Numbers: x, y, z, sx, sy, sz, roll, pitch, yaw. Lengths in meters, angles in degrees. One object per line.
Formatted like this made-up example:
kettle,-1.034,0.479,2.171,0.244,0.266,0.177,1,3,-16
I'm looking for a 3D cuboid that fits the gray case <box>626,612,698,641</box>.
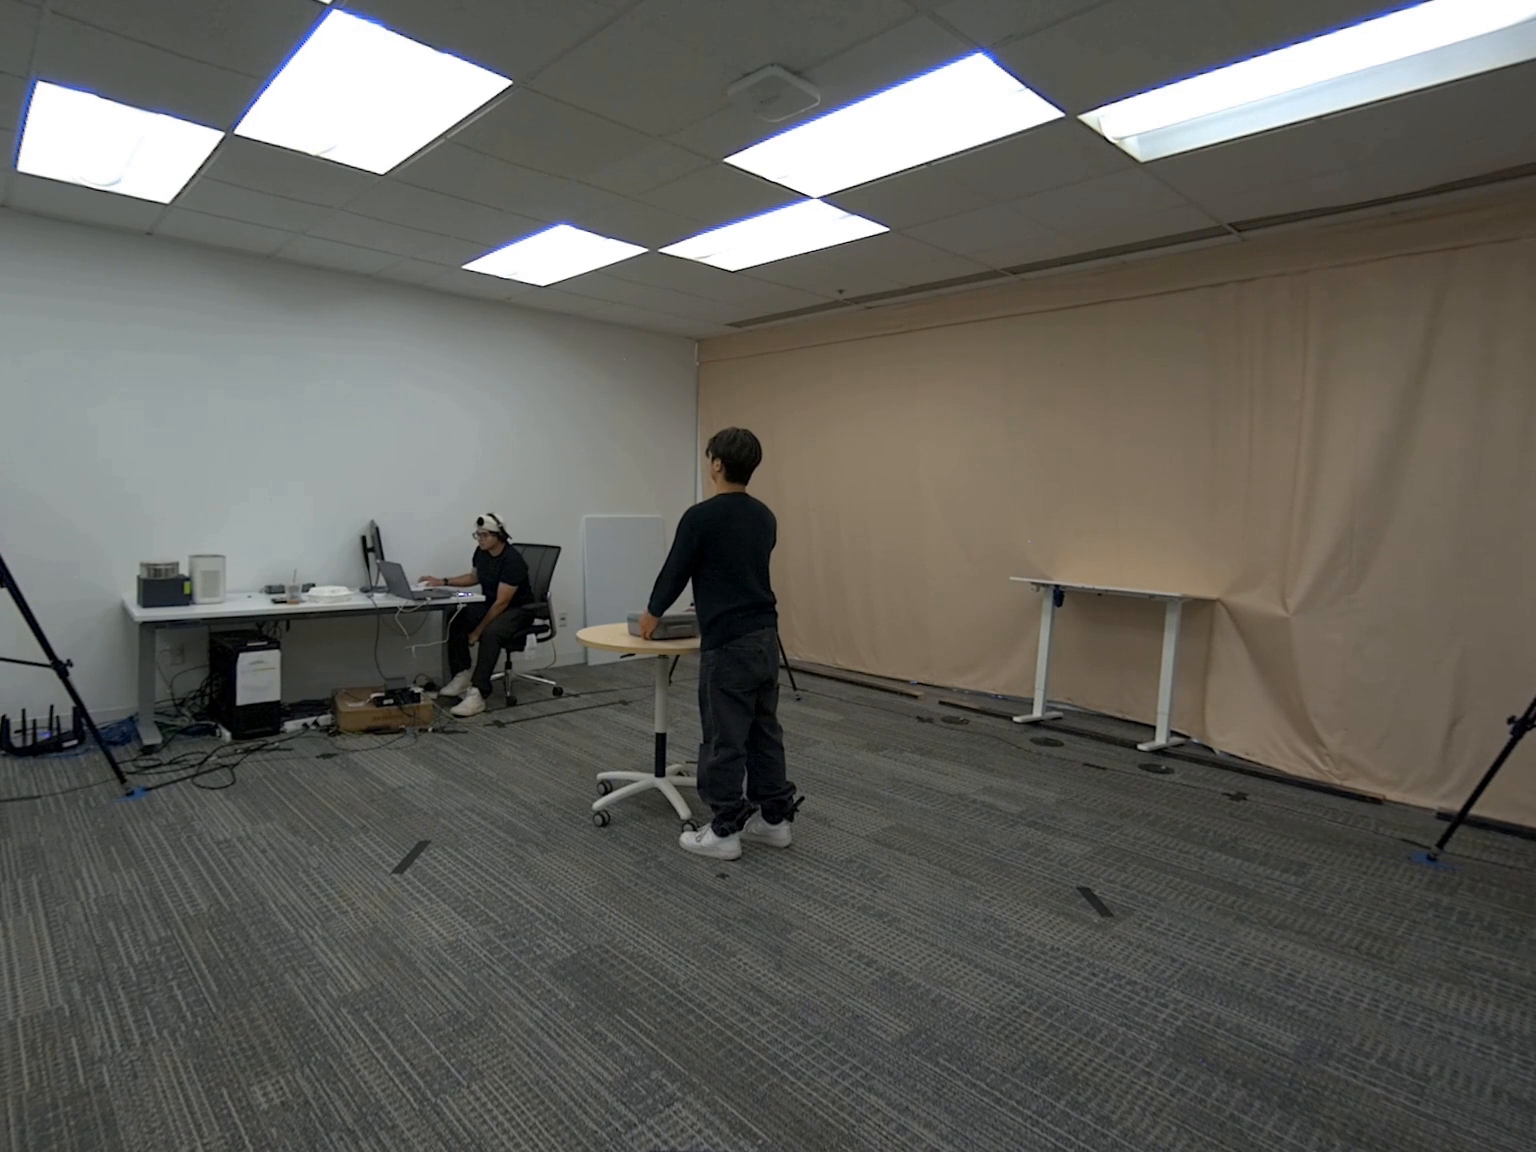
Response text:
gray case,-0.463,0.207,3.716,0.251,0.104,0.267,-1,2,-43
